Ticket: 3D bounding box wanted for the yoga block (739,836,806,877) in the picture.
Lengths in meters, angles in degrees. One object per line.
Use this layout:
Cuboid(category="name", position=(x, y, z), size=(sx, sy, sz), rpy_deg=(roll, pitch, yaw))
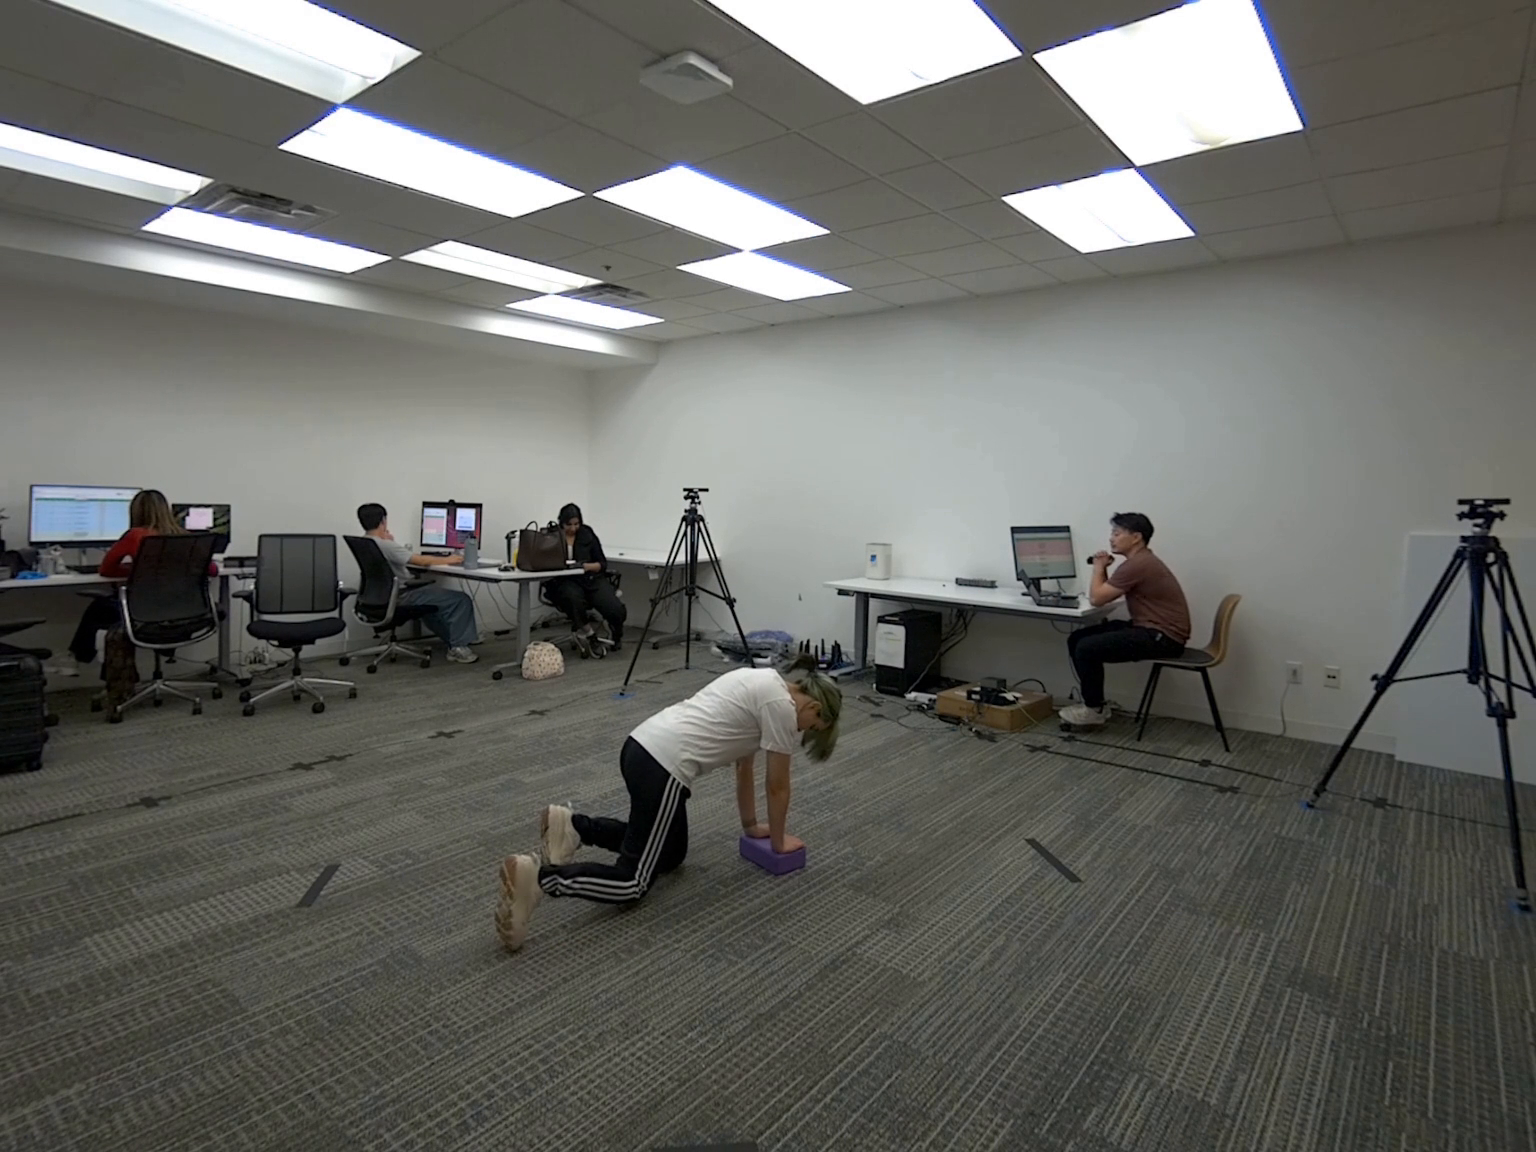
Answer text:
Cuboid(category="yoga block", position=(0.007, 1.030, 3.195), size=(0.144, 0.076, 0.237), rpy_deg=(-2, 7, -37))
